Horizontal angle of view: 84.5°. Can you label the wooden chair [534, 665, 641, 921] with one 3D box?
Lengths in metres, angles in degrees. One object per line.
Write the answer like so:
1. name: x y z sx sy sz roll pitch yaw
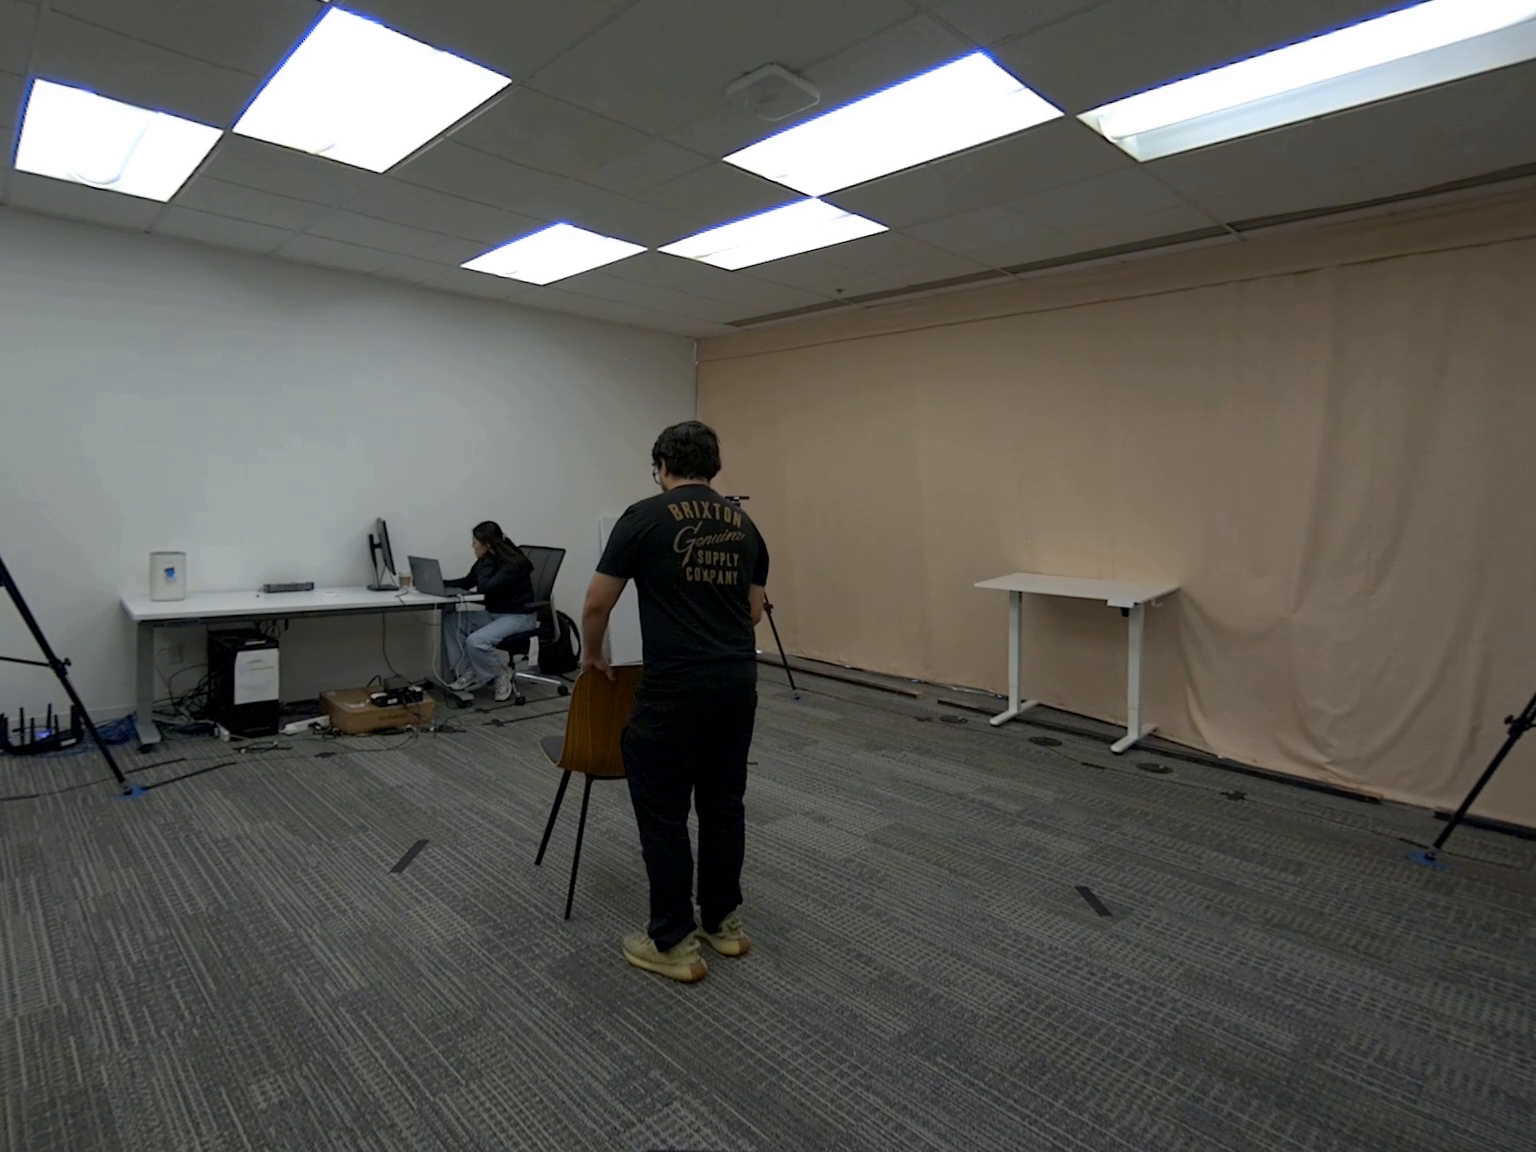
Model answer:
1. wooden chair: -0.563 0.675 3.020 0.469 0.873 0.536 -1 8 -27
